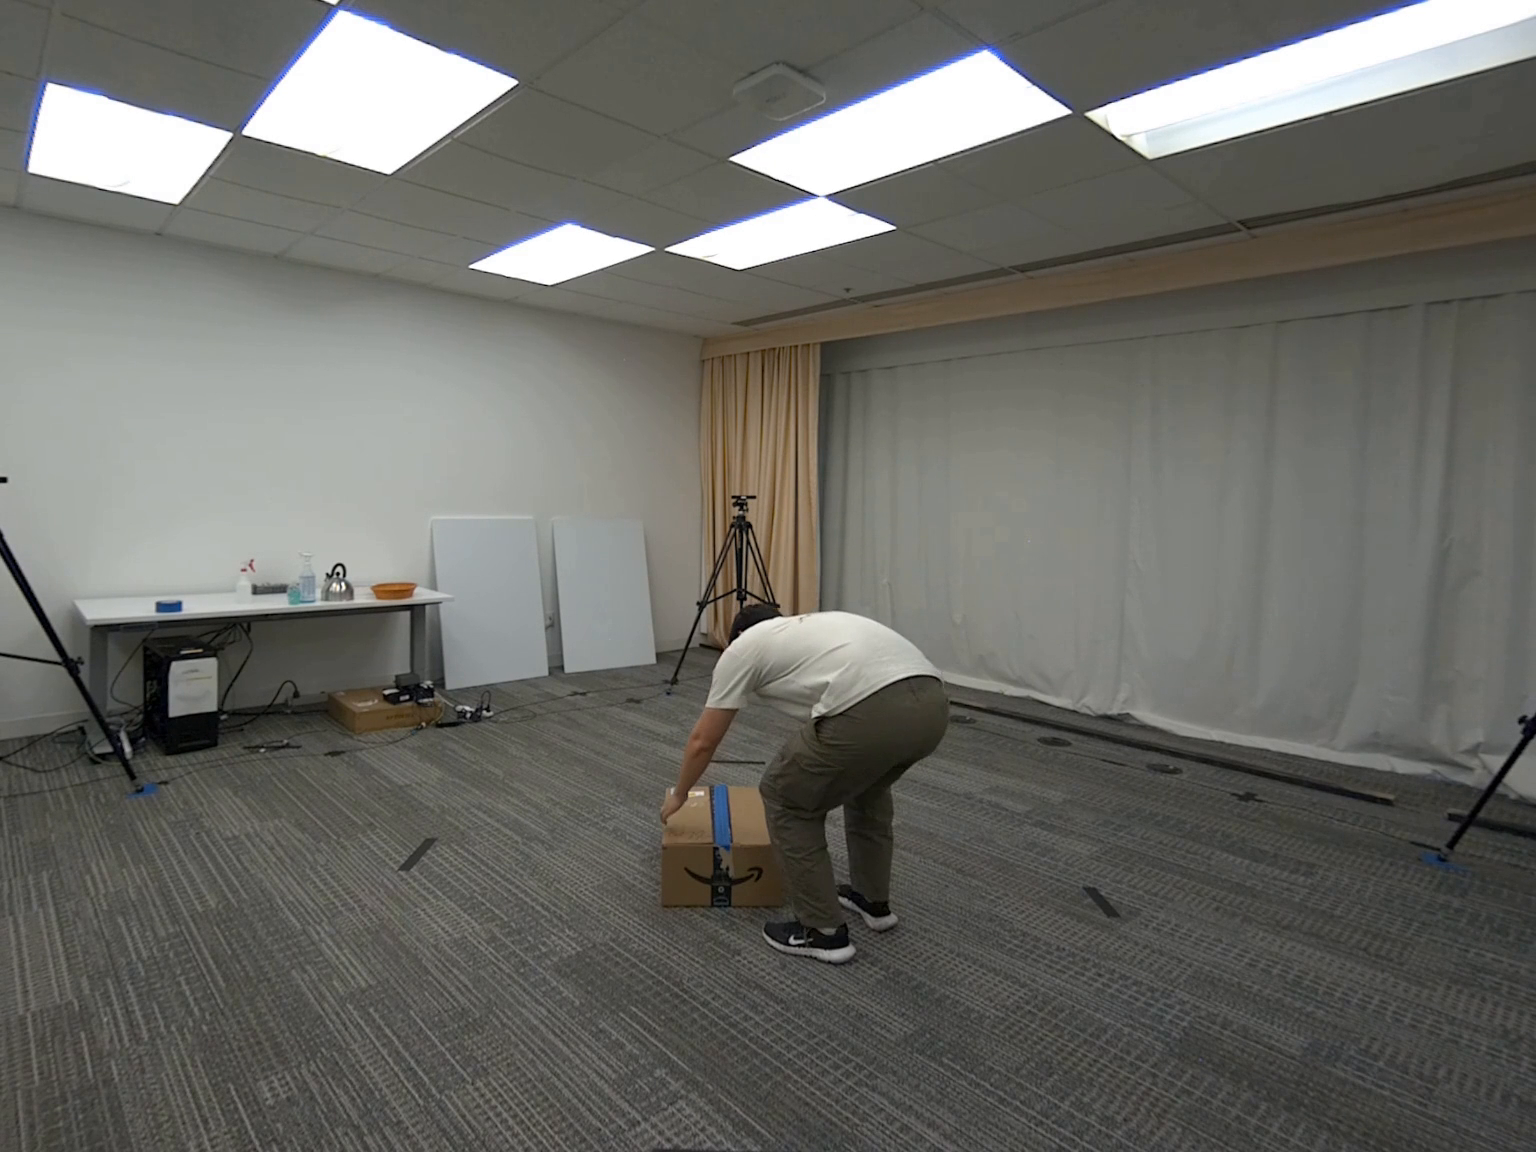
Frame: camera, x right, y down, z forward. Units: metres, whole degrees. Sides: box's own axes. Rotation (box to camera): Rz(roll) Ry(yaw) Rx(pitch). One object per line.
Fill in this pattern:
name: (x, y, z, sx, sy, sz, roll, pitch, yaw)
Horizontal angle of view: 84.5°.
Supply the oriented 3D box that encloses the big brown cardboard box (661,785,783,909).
big brown cardboard box: (-0.186, 0.985, 3.133, 0.416, 0.232, 0.593, 1, 6, -4)
